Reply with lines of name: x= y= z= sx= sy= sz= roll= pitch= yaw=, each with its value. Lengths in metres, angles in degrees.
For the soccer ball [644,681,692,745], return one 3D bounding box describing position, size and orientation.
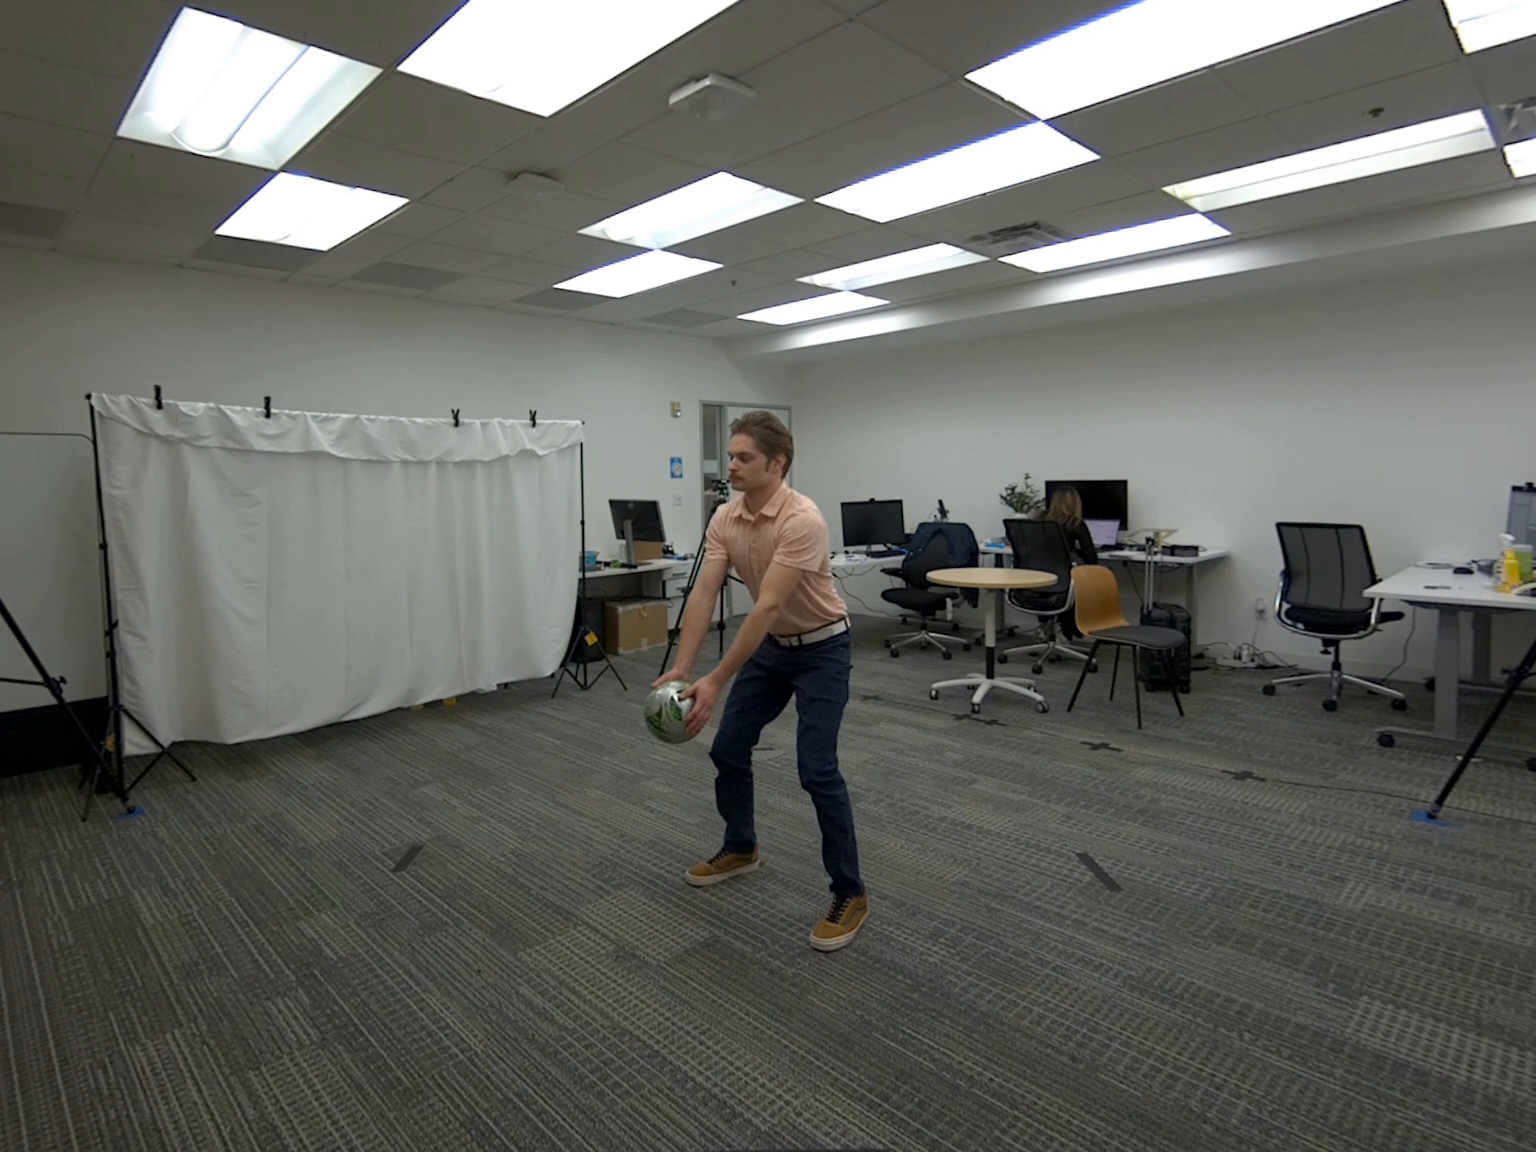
soccer ball: x=-0.271 y=0.415 z=2.549 sx=0.187 sy=0.187 sz=0.188 roll=-1 pitch=5 yaw=-2
